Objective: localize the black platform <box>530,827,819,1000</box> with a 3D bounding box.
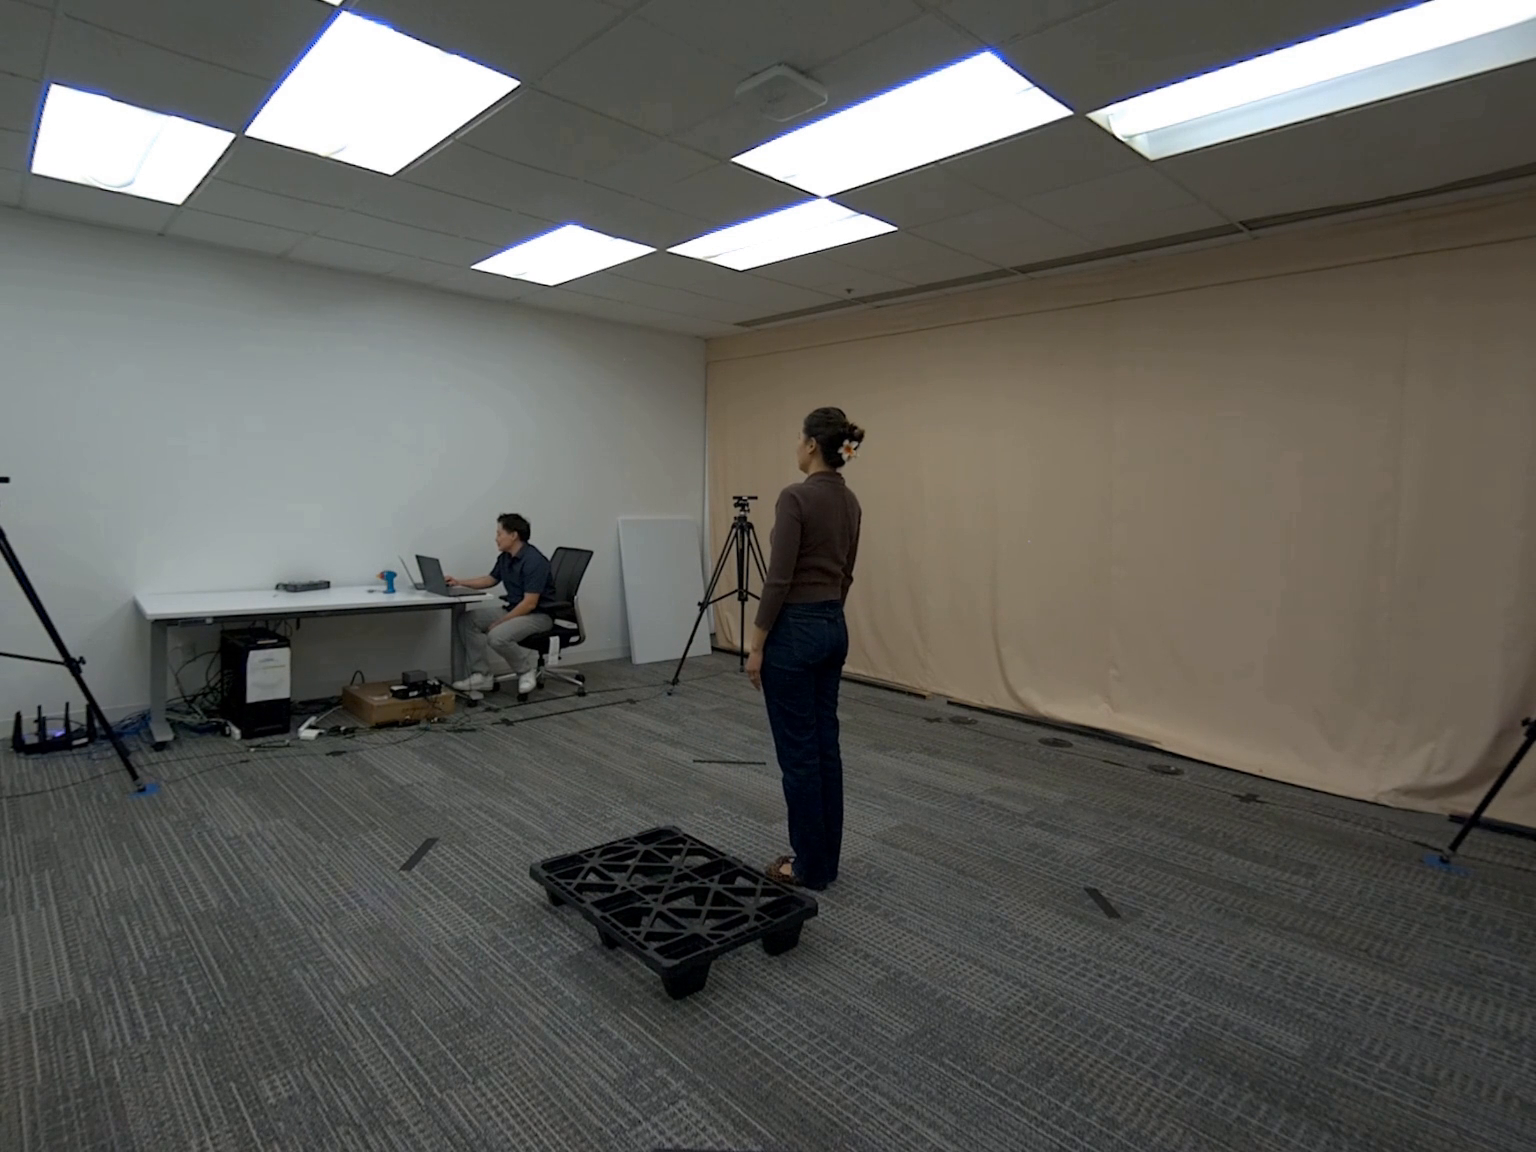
[{"bbox_3d":[-0.330,1.066,2.743,0.591,0.143,0.826,-3,7,-42],"label":"black platform"}]
